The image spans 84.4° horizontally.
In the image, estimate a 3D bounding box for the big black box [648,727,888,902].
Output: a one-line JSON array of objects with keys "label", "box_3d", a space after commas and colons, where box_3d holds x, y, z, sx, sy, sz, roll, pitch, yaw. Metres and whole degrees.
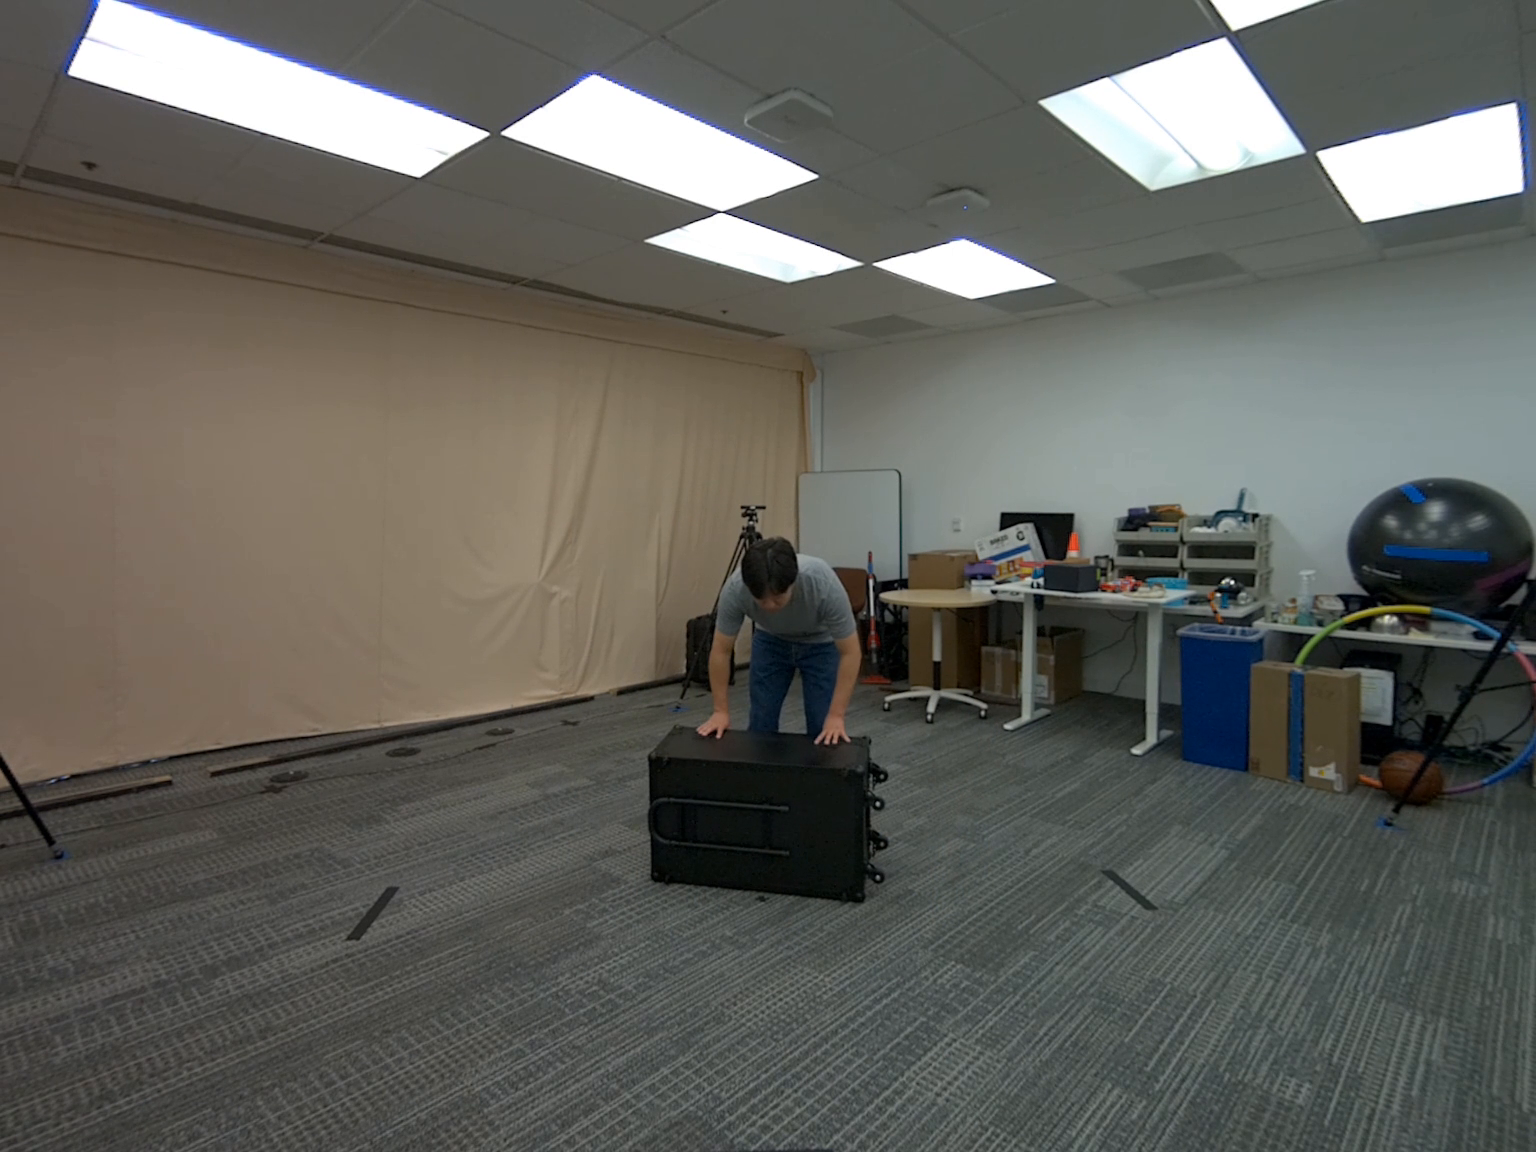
[{"label": "big black box", "box_3d": [0.013, 0.868, 3.161, 0.874, 0.519, 0.392, 1, 7, 13]}]
